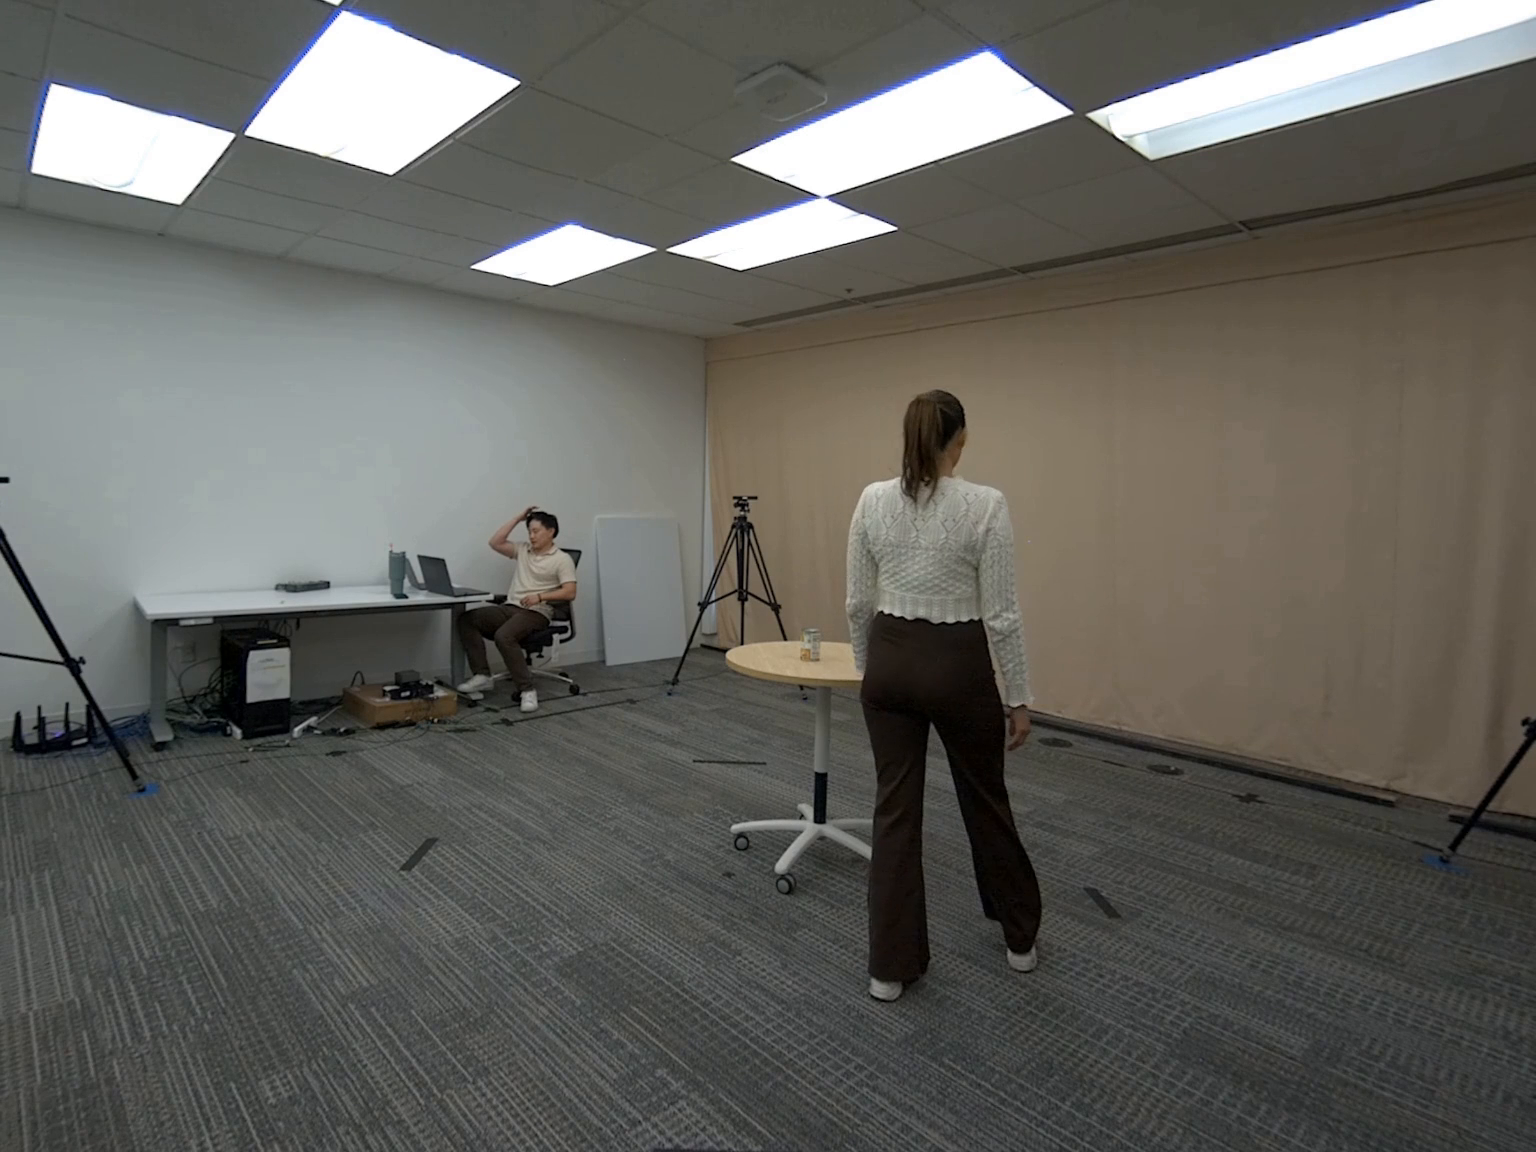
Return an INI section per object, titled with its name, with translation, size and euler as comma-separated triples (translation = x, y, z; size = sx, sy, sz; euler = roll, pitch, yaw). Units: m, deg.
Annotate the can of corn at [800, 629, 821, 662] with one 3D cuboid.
[can of corn]
translation = 0.157, 0.261, 3.192
size = 0.074, 0.111, 0.074
euler = 1, 4, -1
